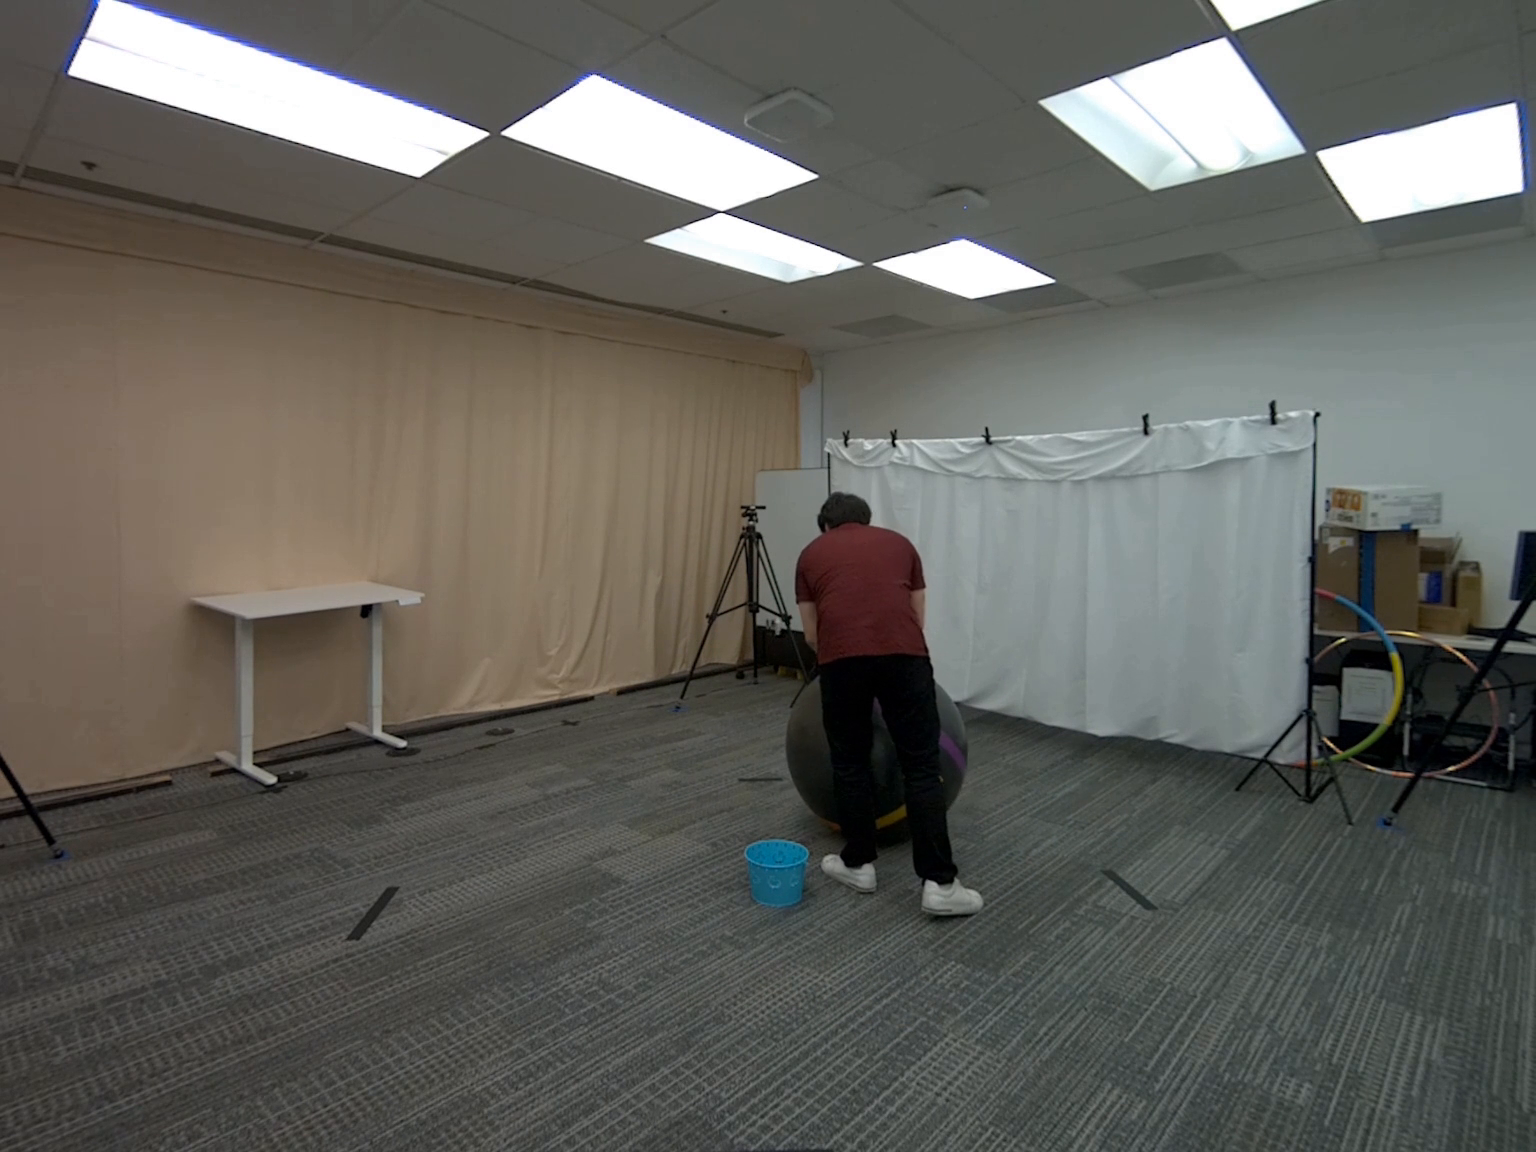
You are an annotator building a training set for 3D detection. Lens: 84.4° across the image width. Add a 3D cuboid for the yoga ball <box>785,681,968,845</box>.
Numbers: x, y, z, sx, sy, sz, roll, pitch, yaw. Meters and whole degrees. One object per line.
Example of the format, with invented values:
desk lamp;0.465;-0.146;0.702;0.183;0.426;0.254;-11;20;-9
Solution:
yoga ball;0.459;0.726;3.591;0.757;0.756;0.760;0;4;-2
